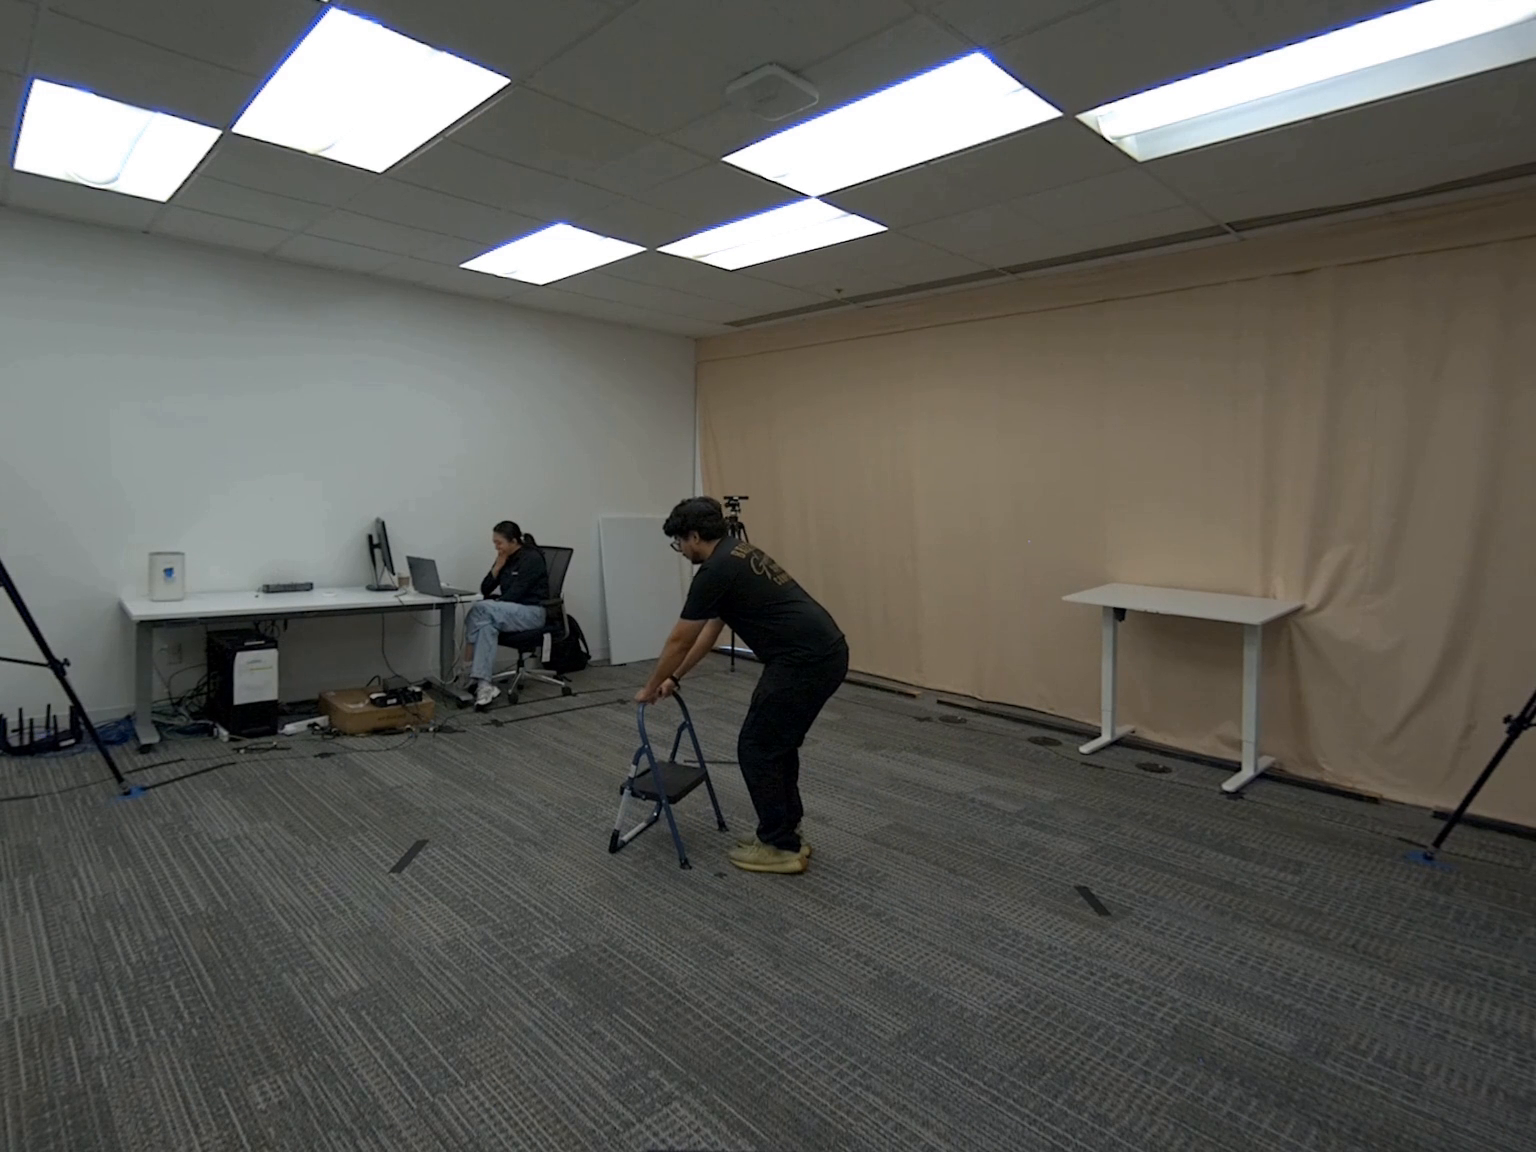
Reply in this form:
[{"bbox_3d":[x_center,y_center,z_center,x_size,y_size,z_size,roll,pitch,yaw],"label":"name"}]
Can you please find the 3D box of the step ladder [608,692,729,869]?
[{"bbox_3d":[-0.391,0.769,3.388,0.355,0.604,0.425,3,4,19],"label":"step ladder"}]
